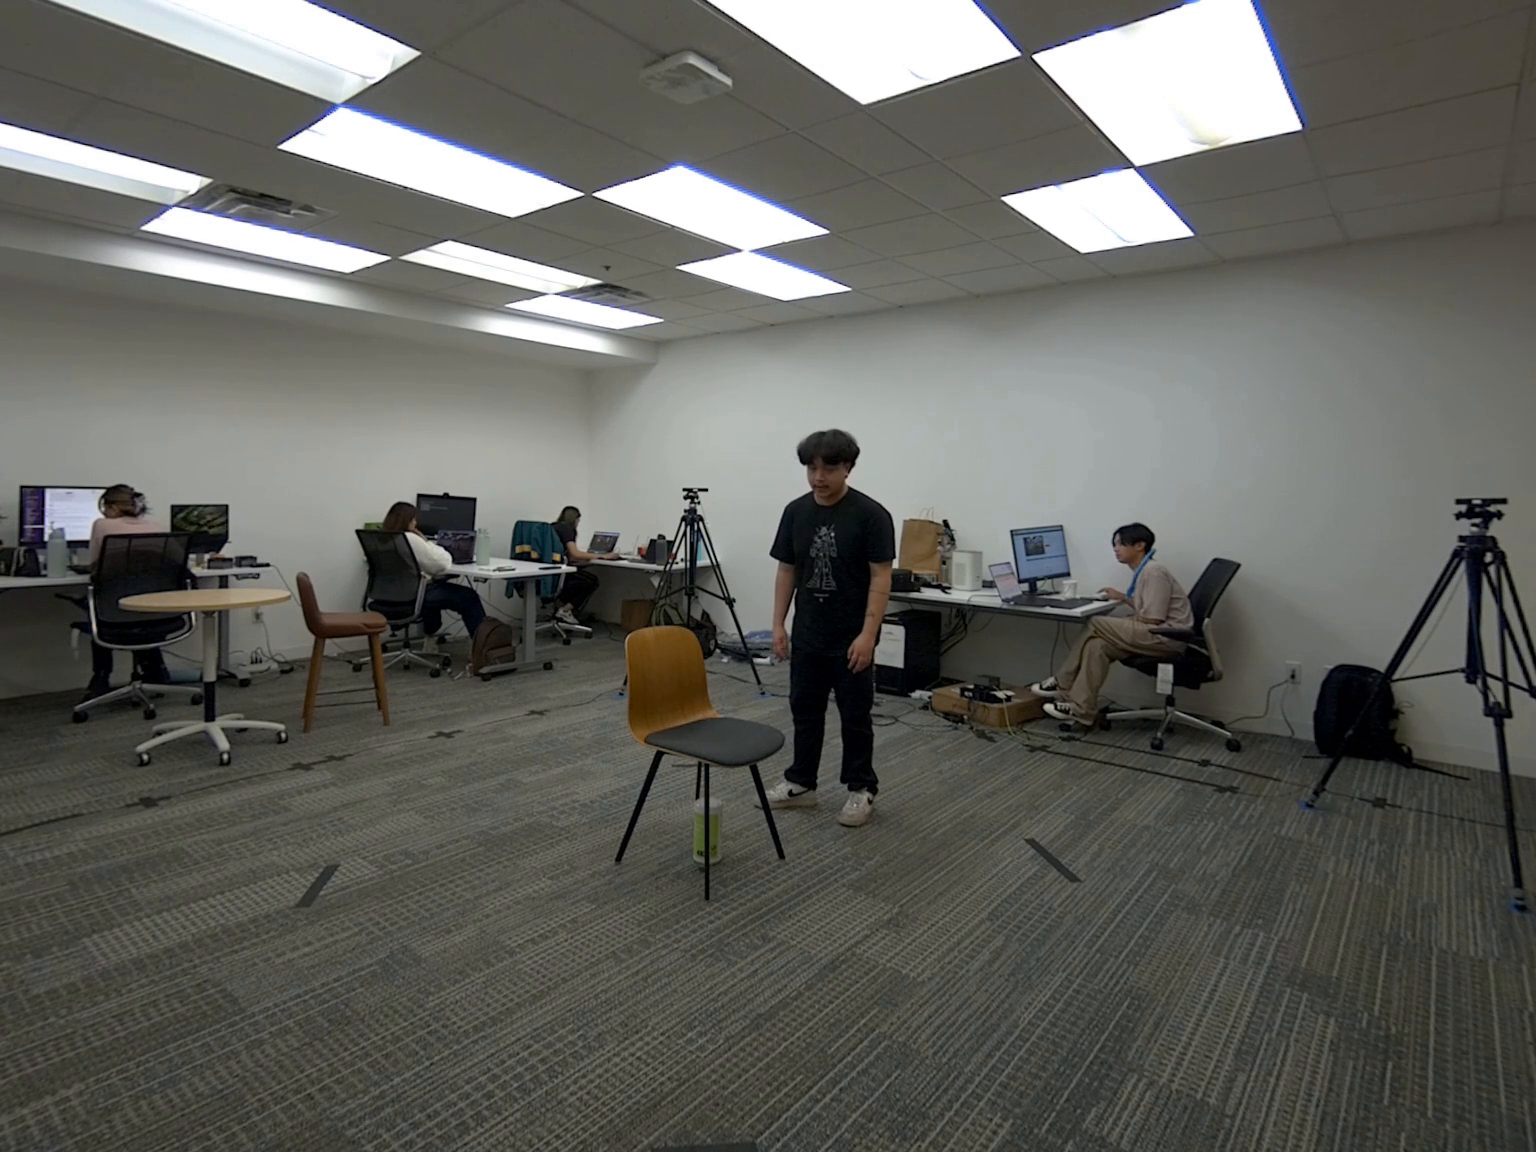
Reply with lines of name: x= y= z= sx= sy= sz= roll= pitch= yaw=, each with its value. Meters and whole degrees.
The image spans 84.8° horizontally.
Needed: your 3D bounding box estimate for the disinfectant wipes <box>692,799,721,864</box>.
disinfectant wipes: x=-0.244 y=0.967 z=3.203 sx=0.118 sy=0.217 sz=0.118 roll=1 pitch=2 yaw=-2
